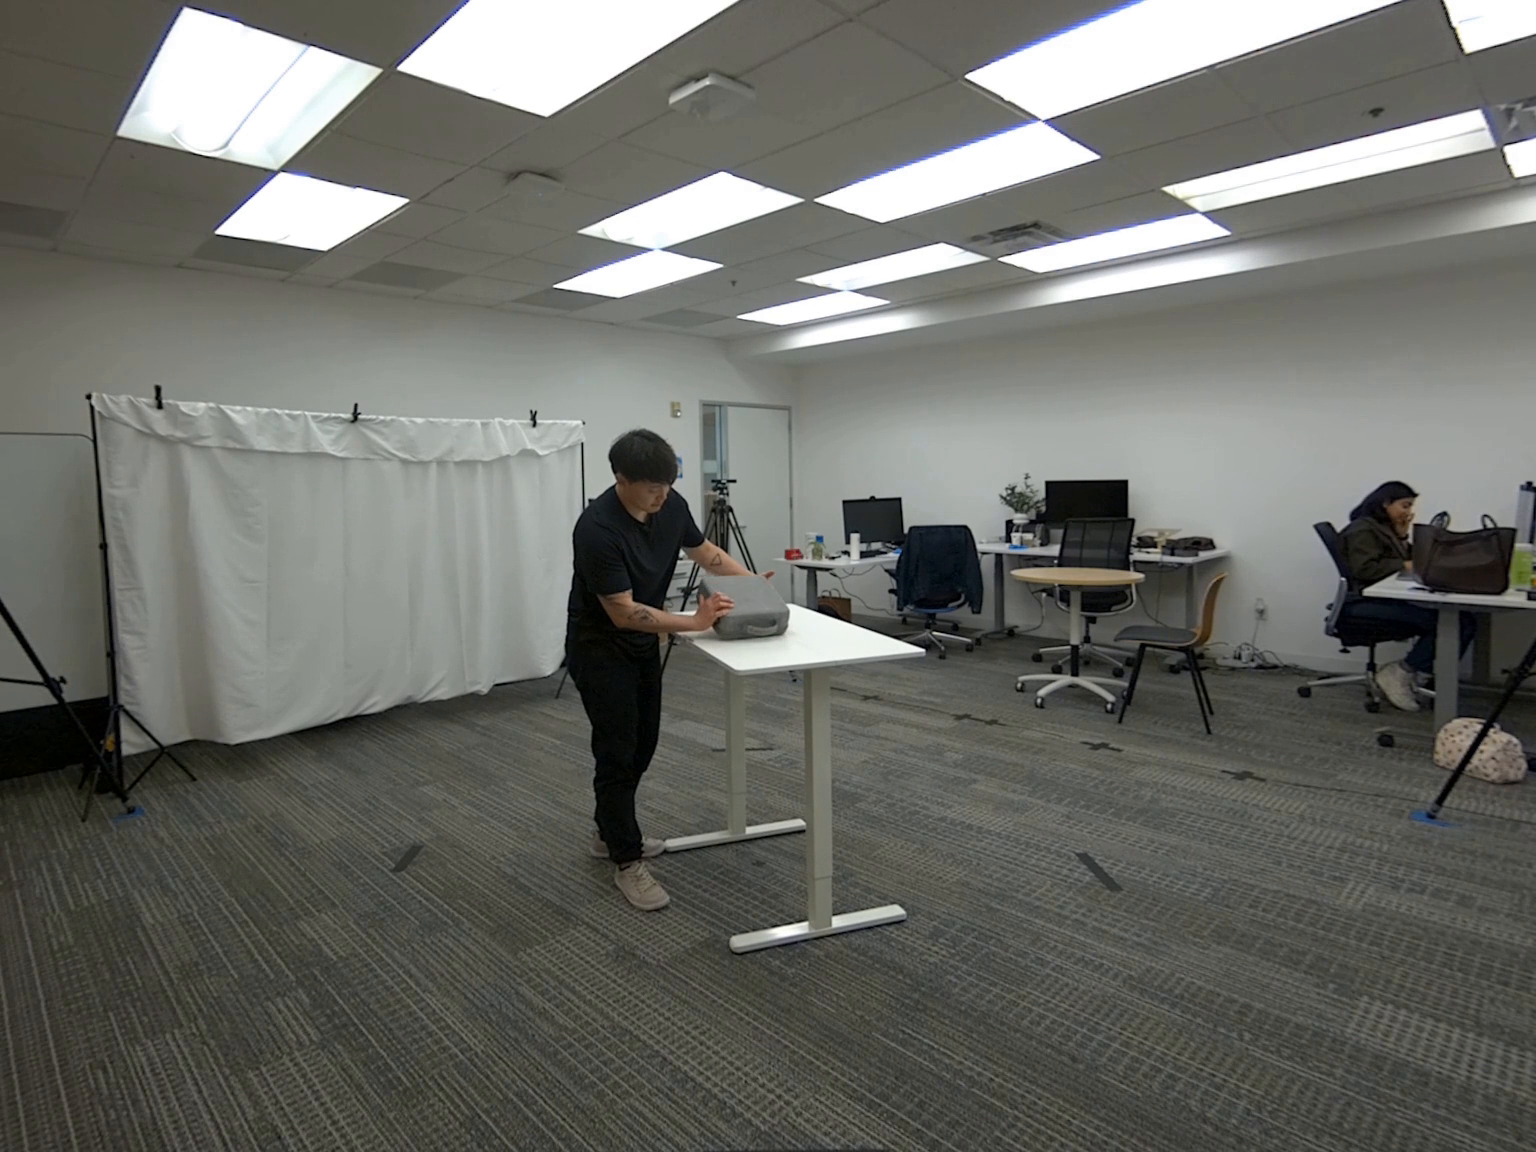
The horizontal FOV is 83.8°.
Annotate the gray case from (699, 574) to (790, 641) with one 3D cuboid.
[{"bbox_3d":[-0.083,0.109,2.835,0.251,0.103,0.270,-2,27,-26],"label":"gray case"}]
